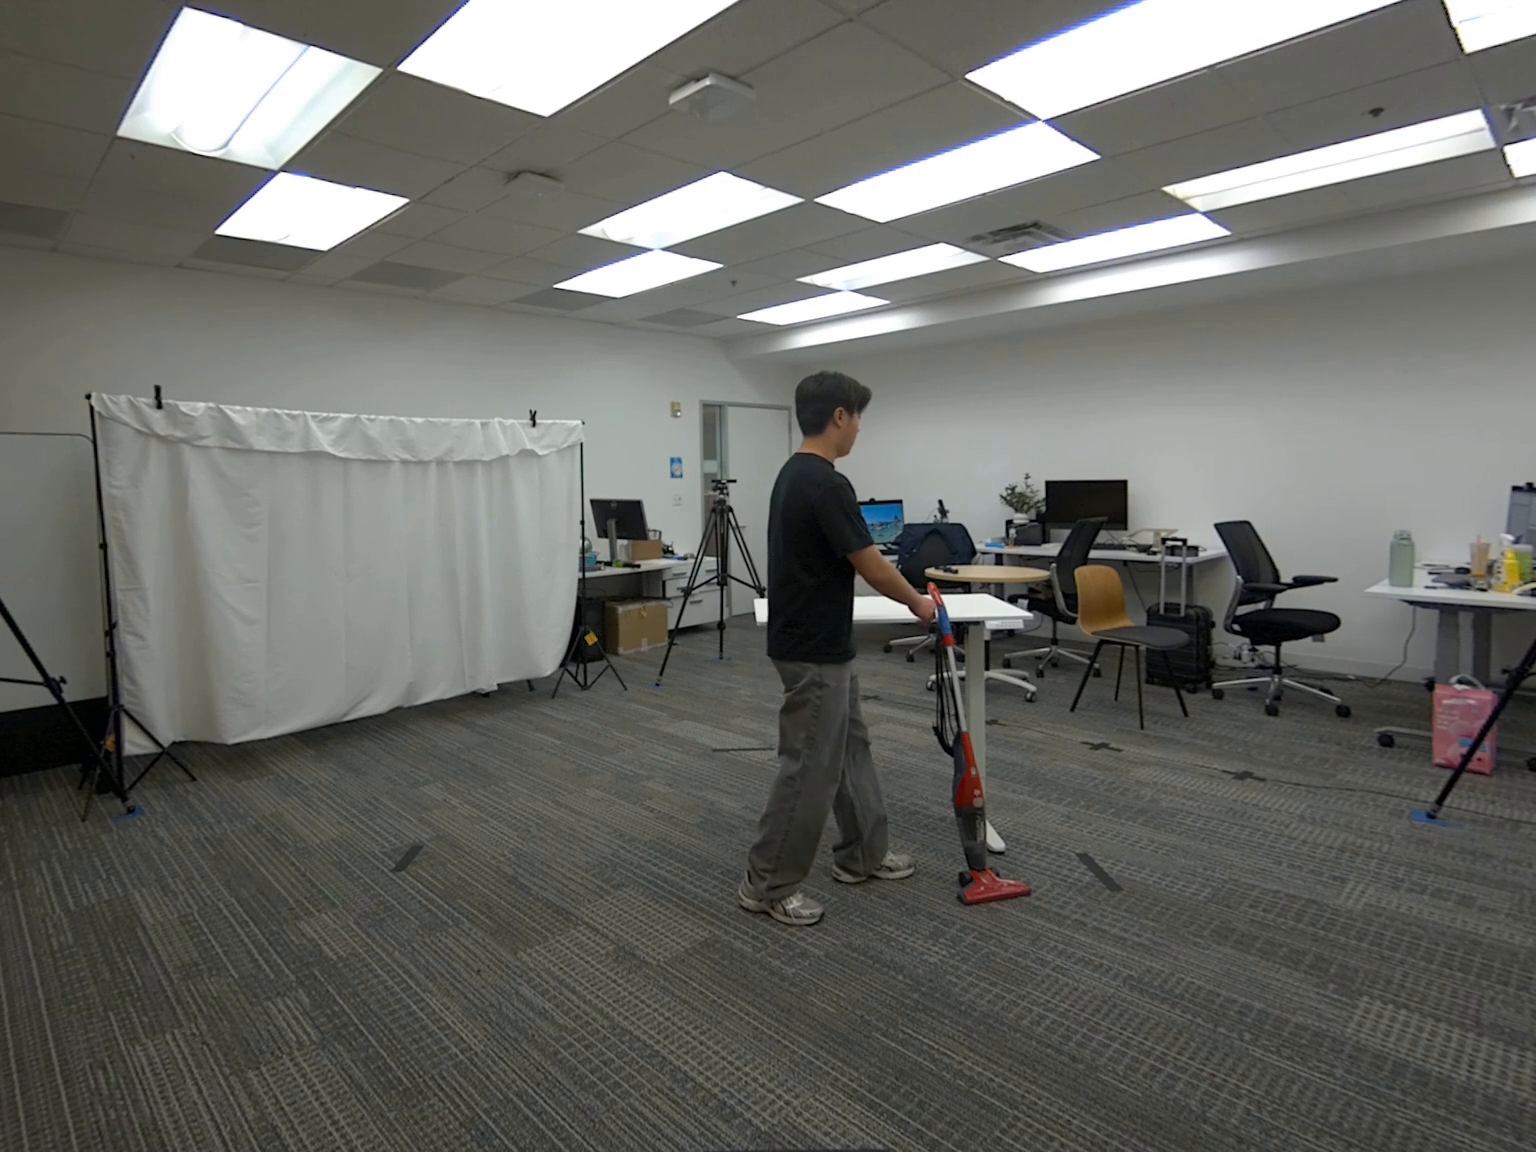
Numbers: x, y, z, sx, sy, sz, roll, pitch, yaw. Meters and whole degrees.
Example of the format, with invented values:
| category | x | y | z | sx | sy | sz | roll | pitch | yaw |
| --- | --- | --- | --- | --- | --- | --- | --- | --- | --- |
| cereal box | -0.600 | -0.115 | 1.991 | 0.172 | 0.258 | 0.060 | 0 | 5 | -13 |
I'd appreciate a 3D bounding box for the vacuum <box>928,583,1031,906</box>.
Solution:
| category | x | y | z | sx | sy | sz | roll | pitch | yaw |
| --- | --- | --- | --- | --- | --- | --- | --- | --- | --- |
| vacuum | 0.673 | 0.554 | 3.006 | 0.248 | 1.065 | 0.144 | -1 | -16 | -21 |
